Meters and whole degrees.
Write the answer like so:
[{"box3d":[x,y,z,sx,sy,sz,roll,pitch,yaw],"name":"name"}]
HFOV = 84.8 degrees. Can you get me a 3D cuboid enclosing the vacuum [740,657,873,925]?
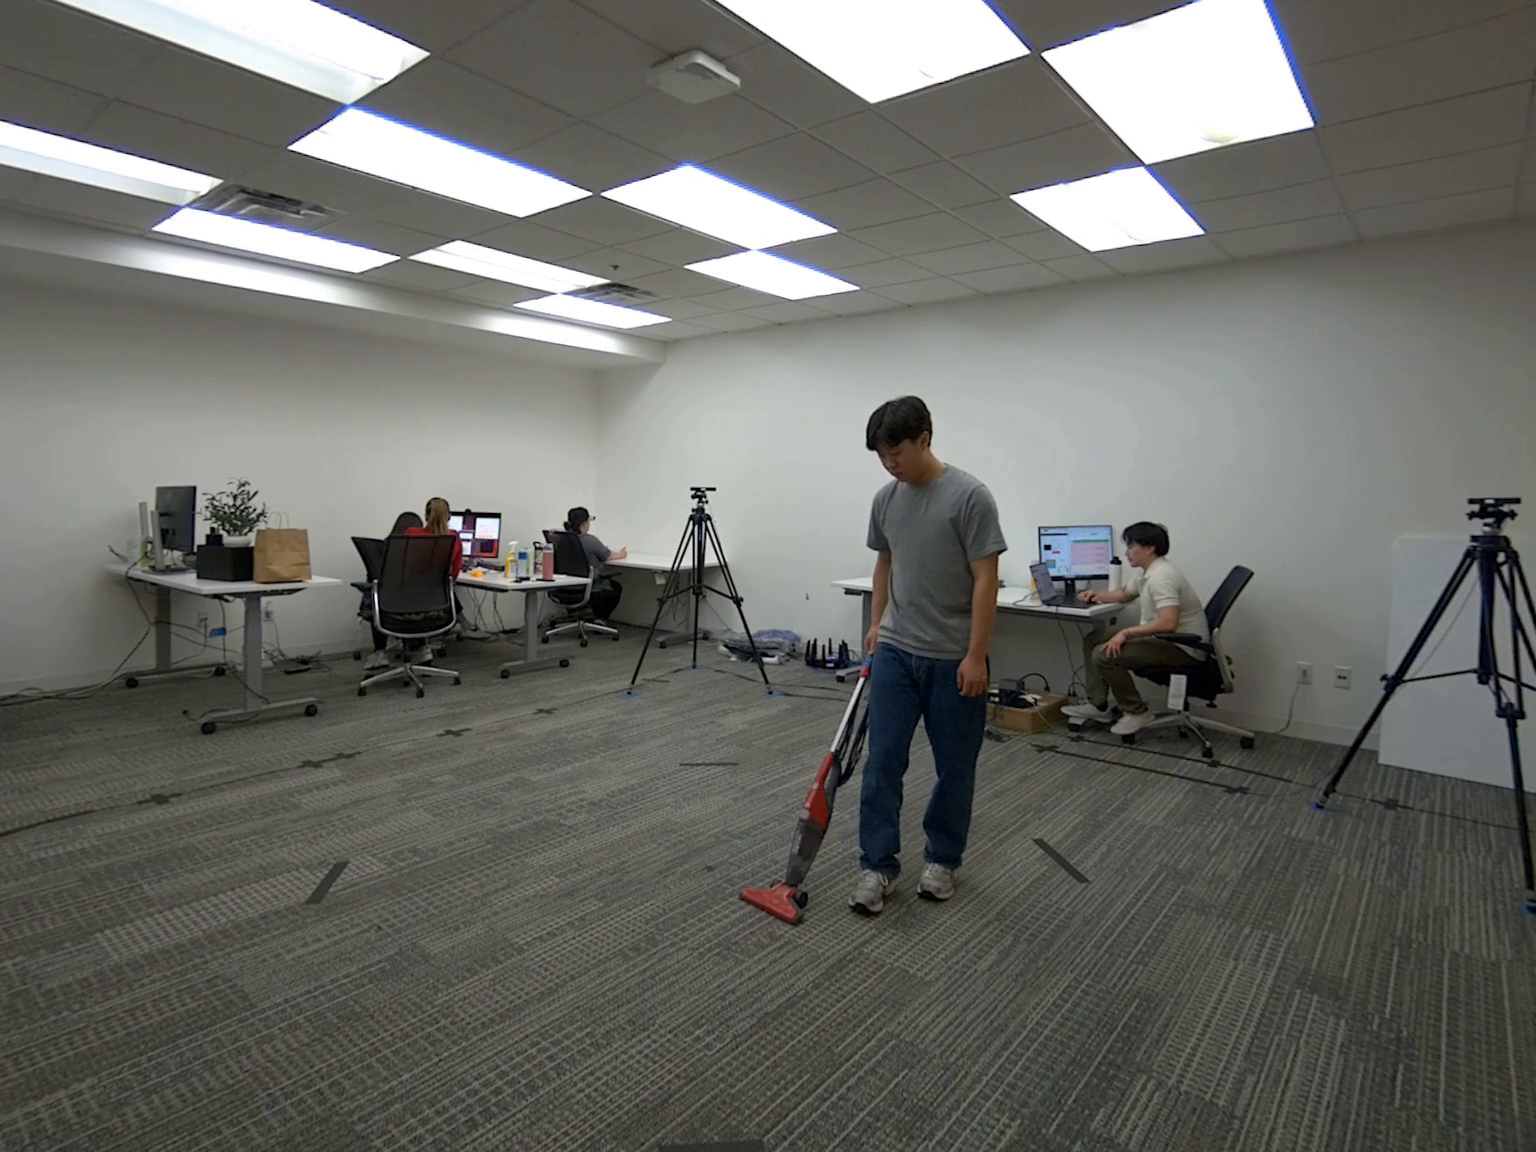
[{"box3d":[0.234,0.659,3.012,0.261,1.057,0.138,4,-30,43],"name":"vacuum"}]
